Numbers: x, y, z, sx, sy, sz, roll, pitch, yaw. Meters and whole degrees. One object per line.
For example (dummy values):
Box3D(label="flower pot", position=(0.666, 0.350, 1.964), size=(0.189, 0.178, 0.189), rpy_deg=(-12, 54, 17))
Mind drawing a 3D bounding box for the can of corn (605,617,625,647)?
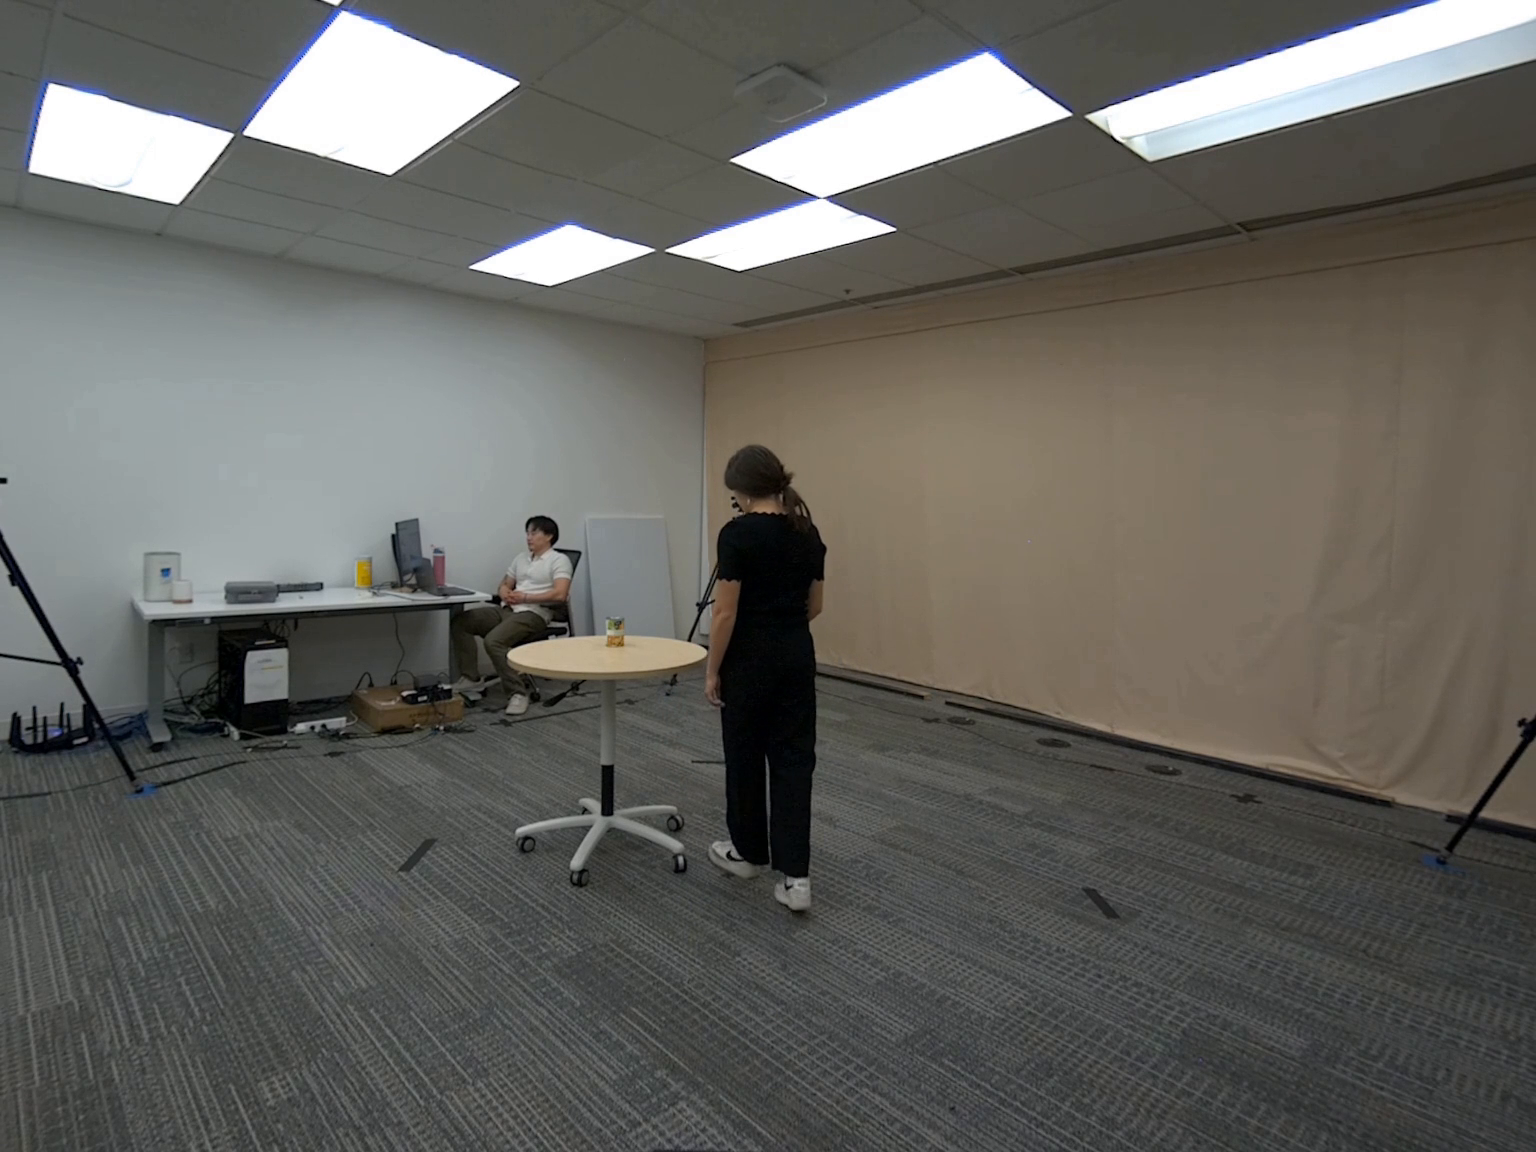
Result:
Box3D(label="can of corn", position=(-0.630, 0.228, 3.413), size=(0.074, 0.111, 0.074), rpy_deg=(0, 2, -1))
